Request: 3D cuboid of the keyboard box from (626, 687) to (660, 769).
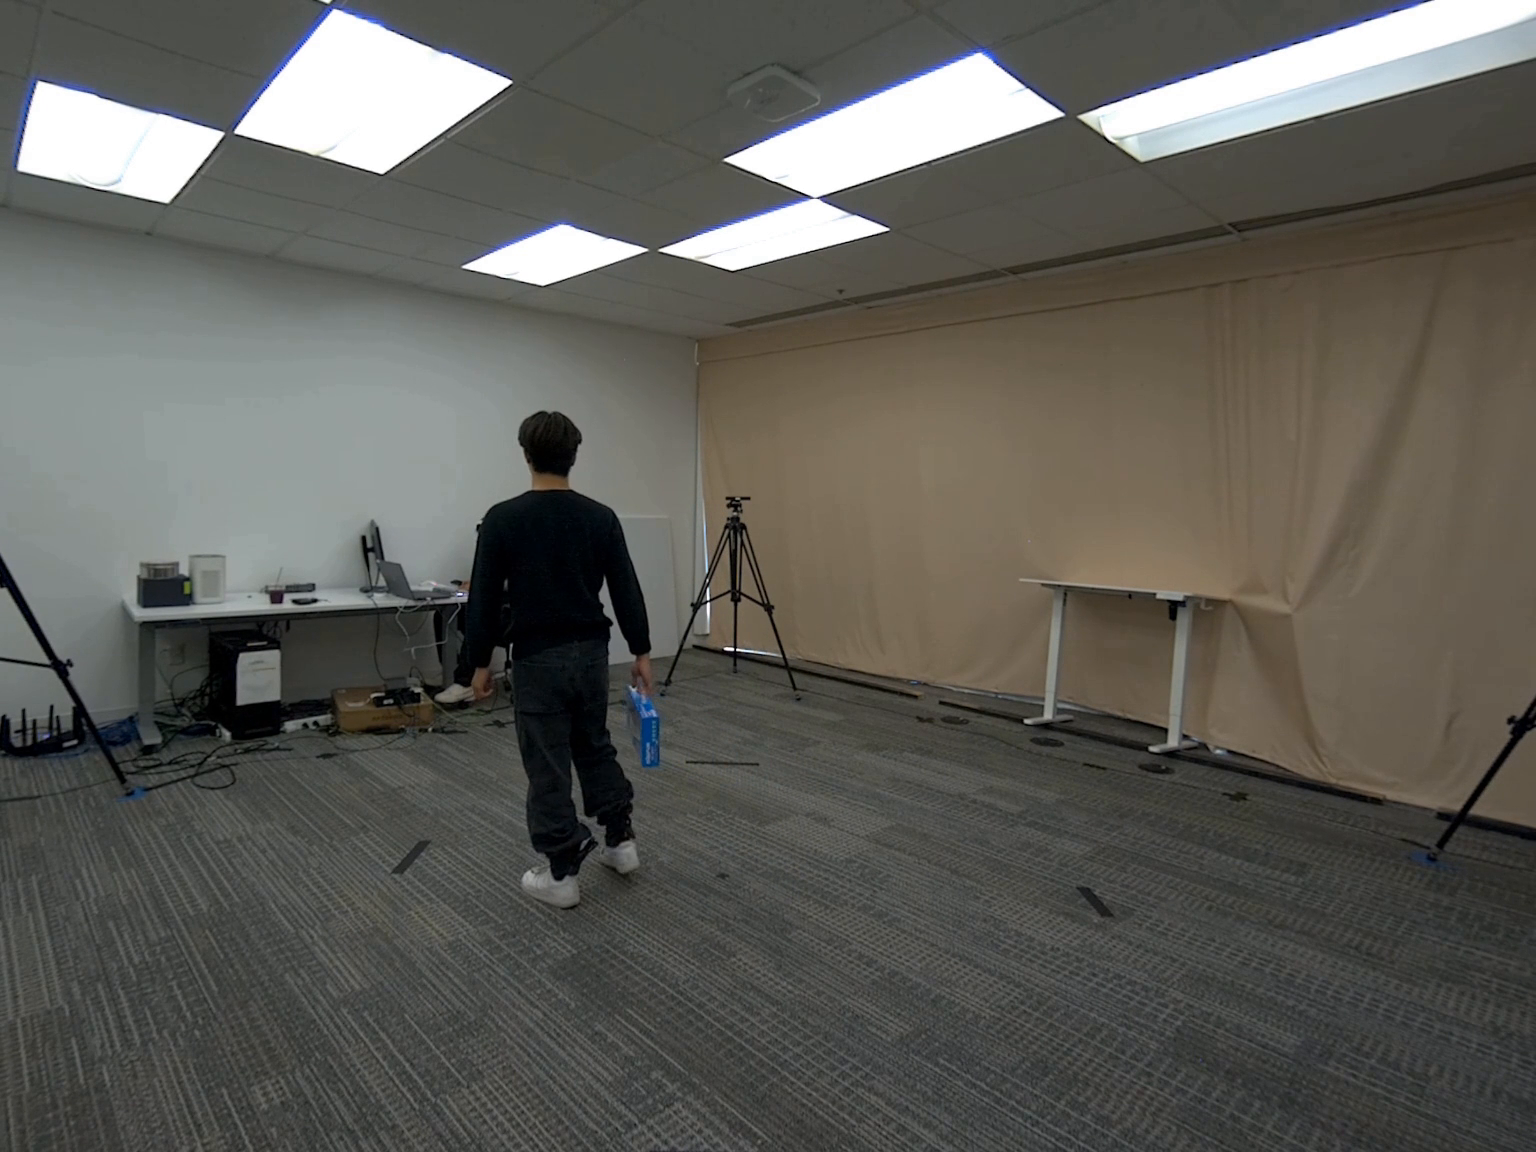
[{"bbox_3d":[-0.462,0.534,3.036,0.058,0.175,0.444,-1,7,-15],"label":"keyboard box"}]
